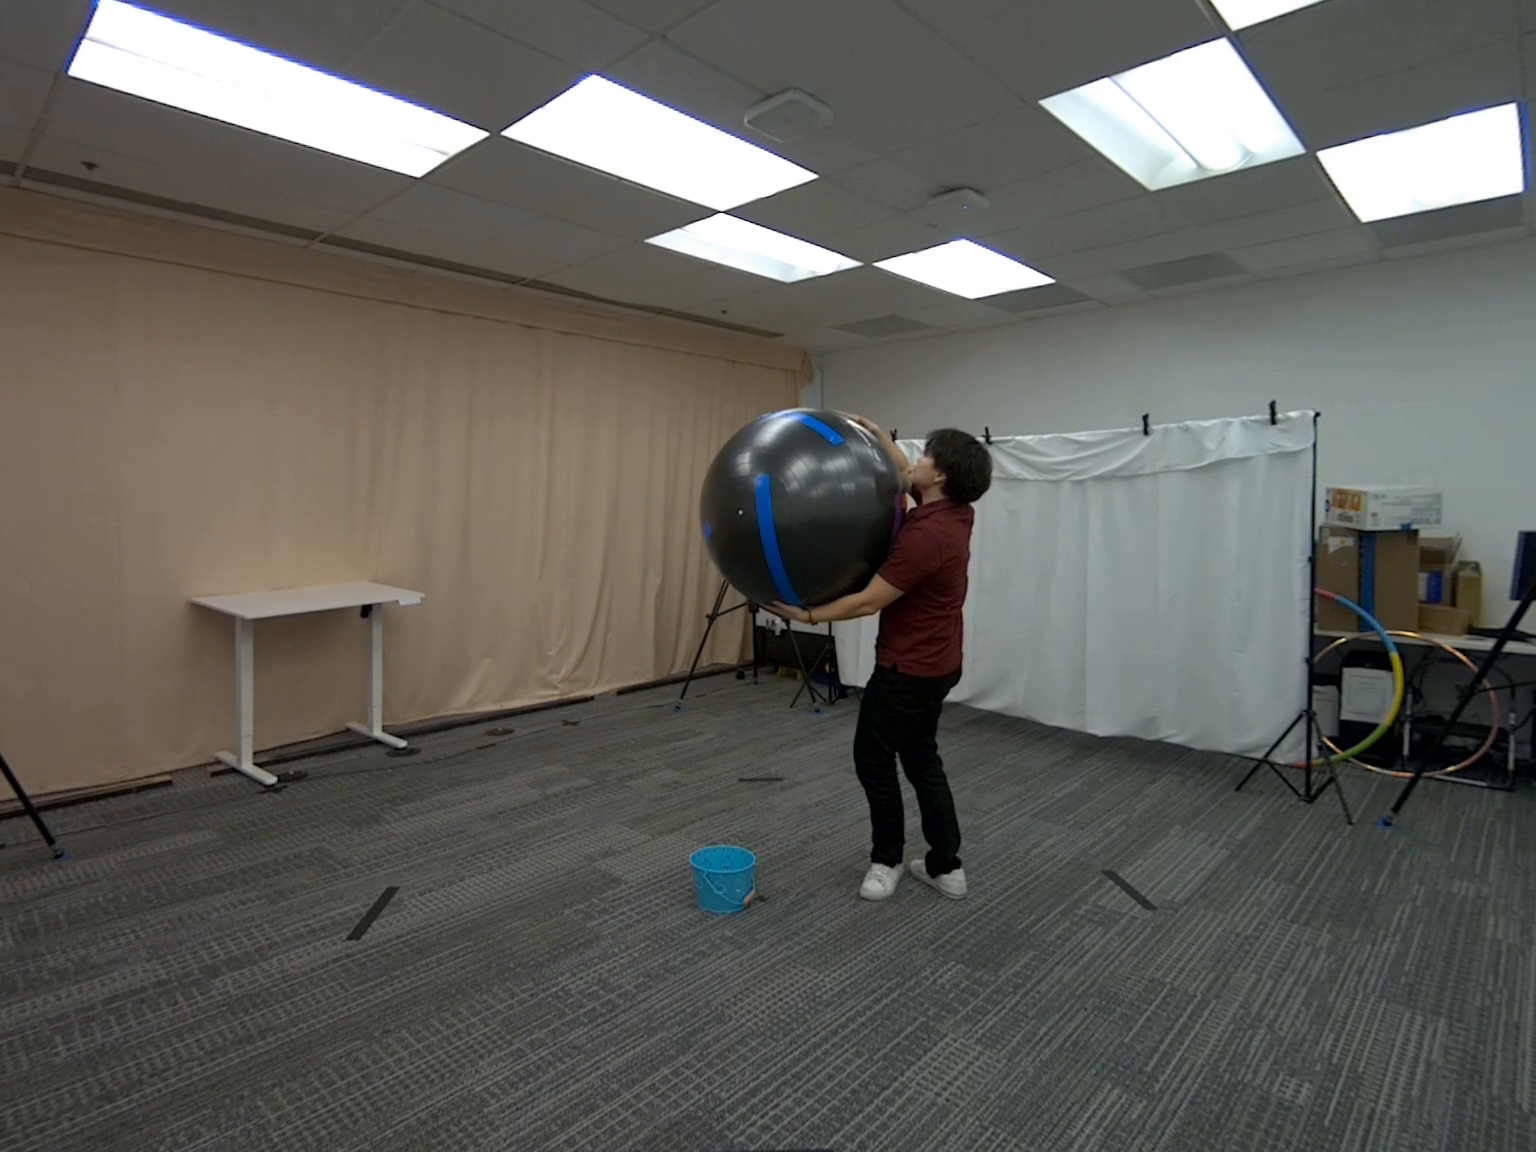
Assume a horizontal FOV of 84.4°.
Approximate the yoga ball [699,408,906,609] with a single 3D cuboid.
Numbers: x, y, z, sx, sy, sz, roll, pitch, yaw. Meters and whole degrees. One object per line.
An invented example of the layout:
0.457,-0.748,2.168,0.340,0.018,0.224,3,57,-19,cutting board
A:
0.124,-0.235,3.120,0.757,0.756,0.760,0,4,-2,yoga ball
